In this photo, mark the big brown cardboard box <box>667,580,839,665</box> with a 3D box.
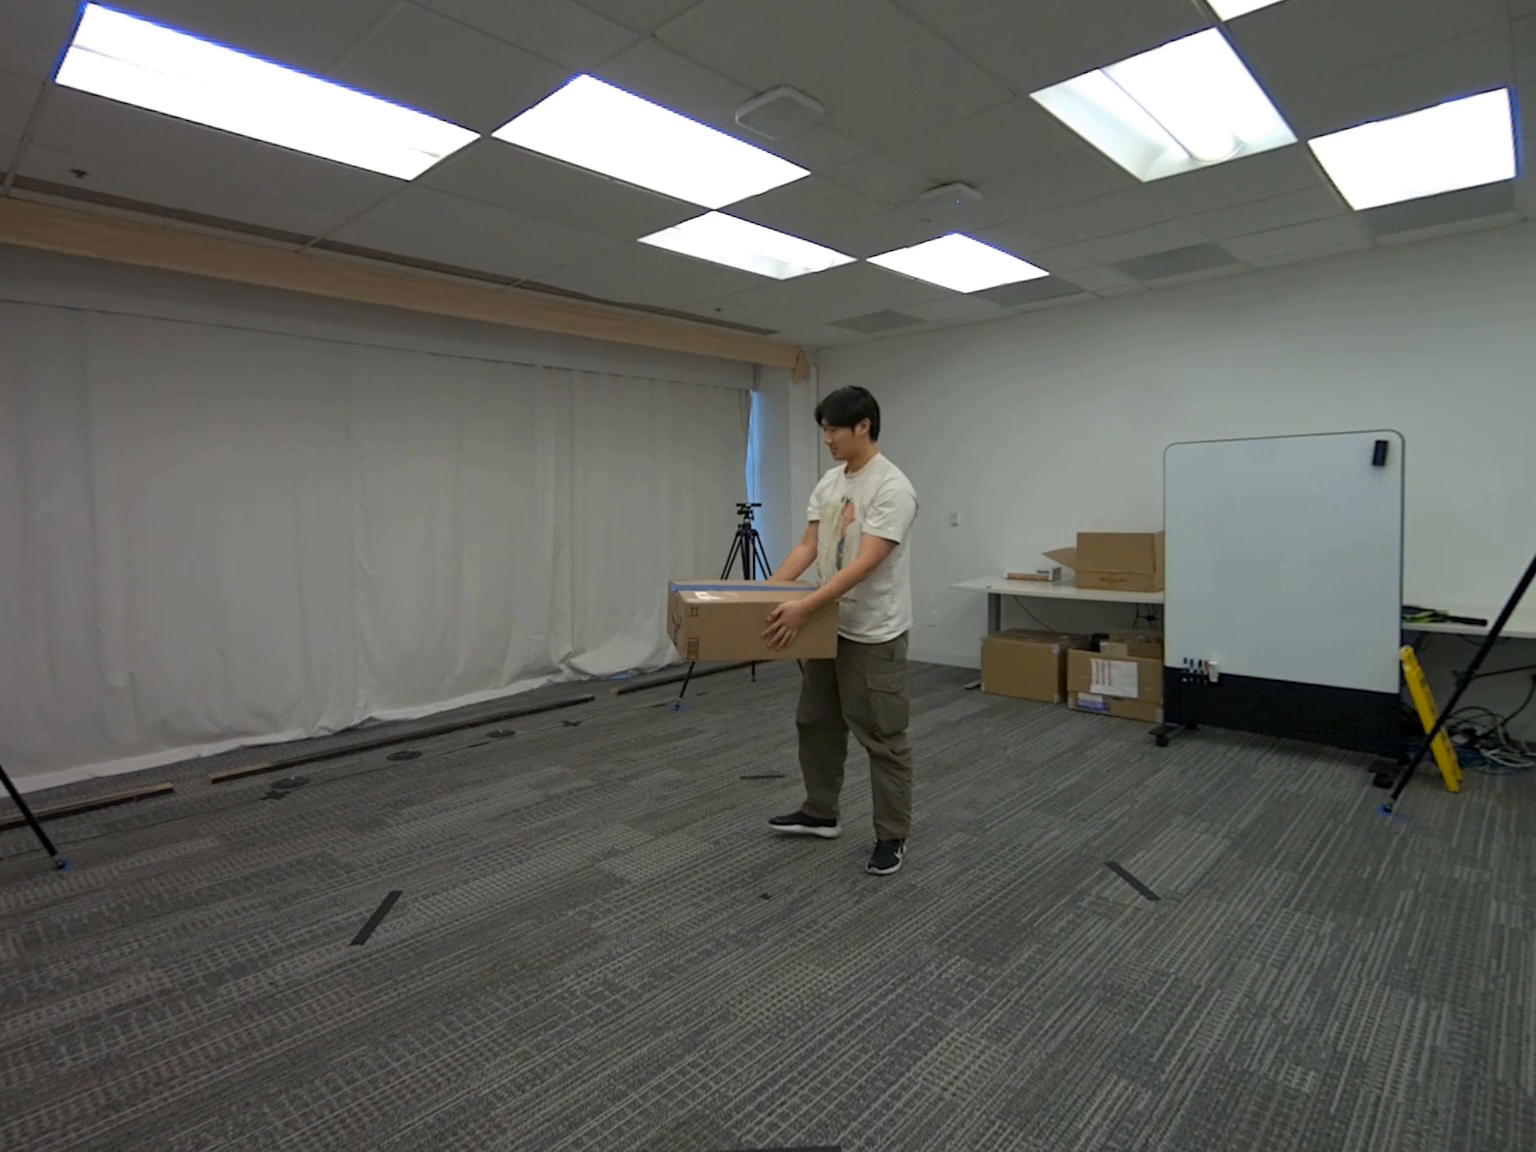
[{"bbox_3d":[-0.075,0.158,3.173,0.581,0.232,0.425,1,9,-13],"label":"big brown cardboard box"}]
